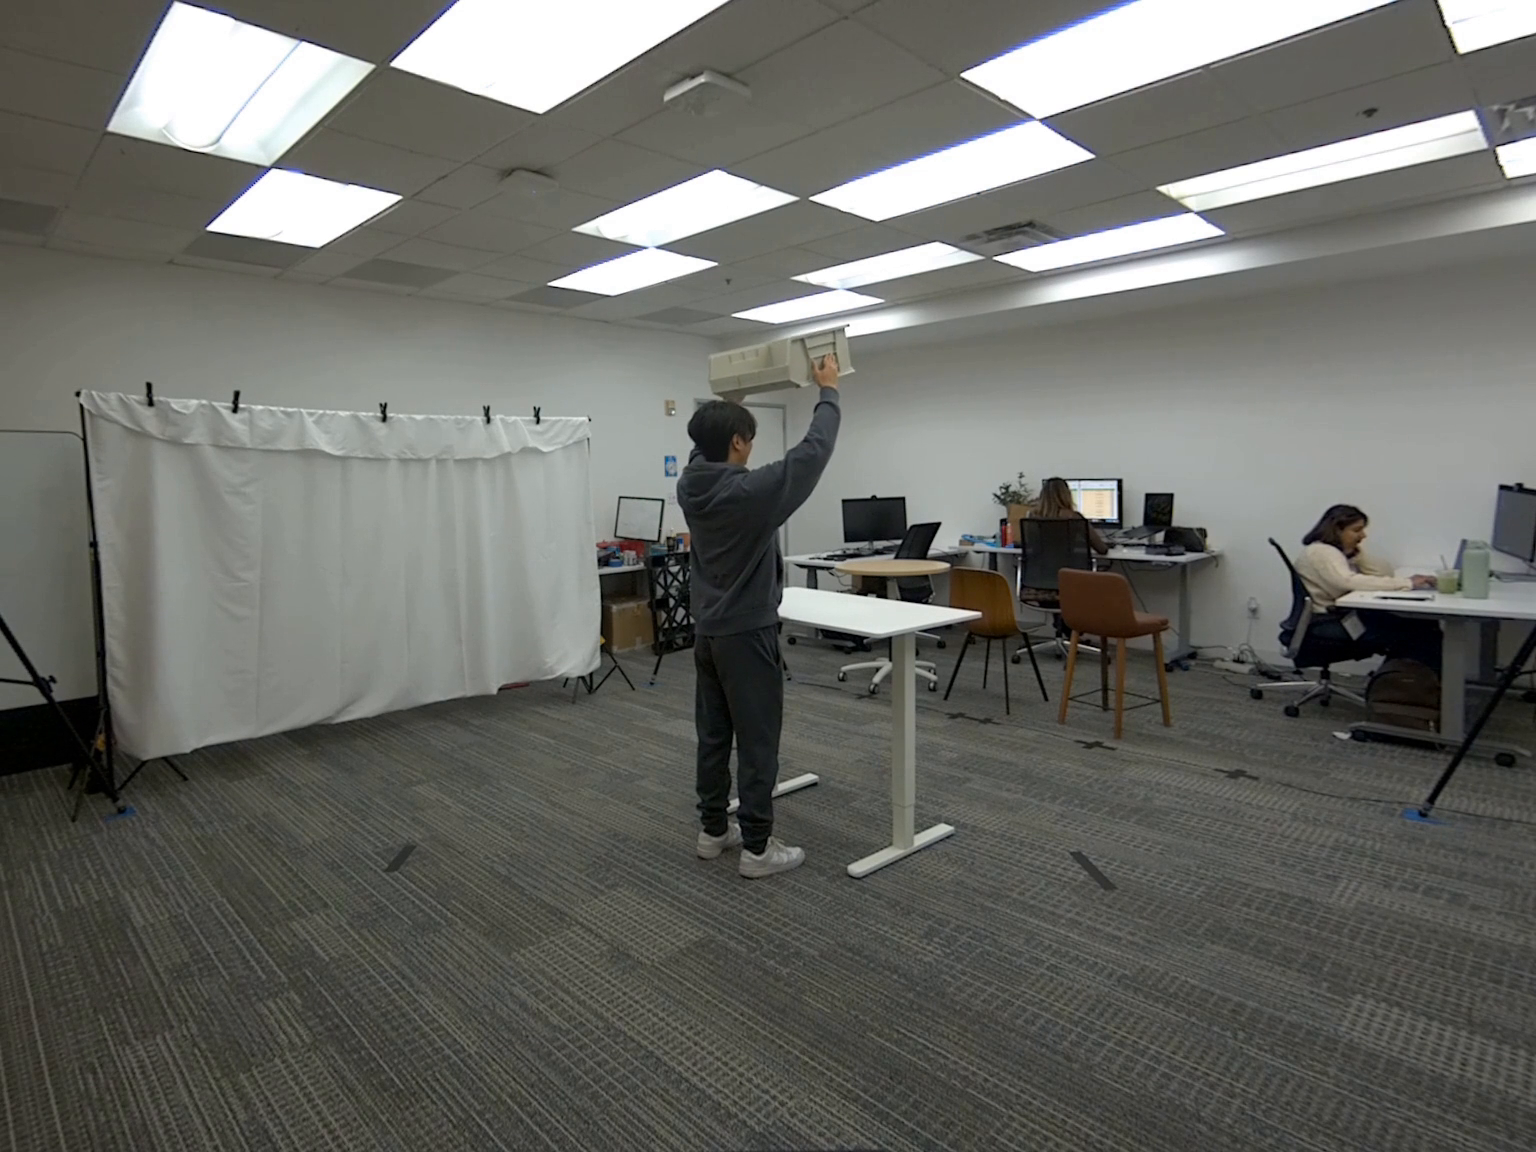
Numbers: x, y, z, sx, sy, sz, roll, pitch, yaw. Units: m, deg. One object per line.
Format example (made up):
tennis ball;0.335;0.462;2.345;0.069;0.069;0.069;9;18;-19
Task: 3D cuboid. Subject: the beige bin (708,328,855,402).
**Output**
beige bin;0.048;-0.797;3.221;0.435;0.186;0.371;2;20;46
